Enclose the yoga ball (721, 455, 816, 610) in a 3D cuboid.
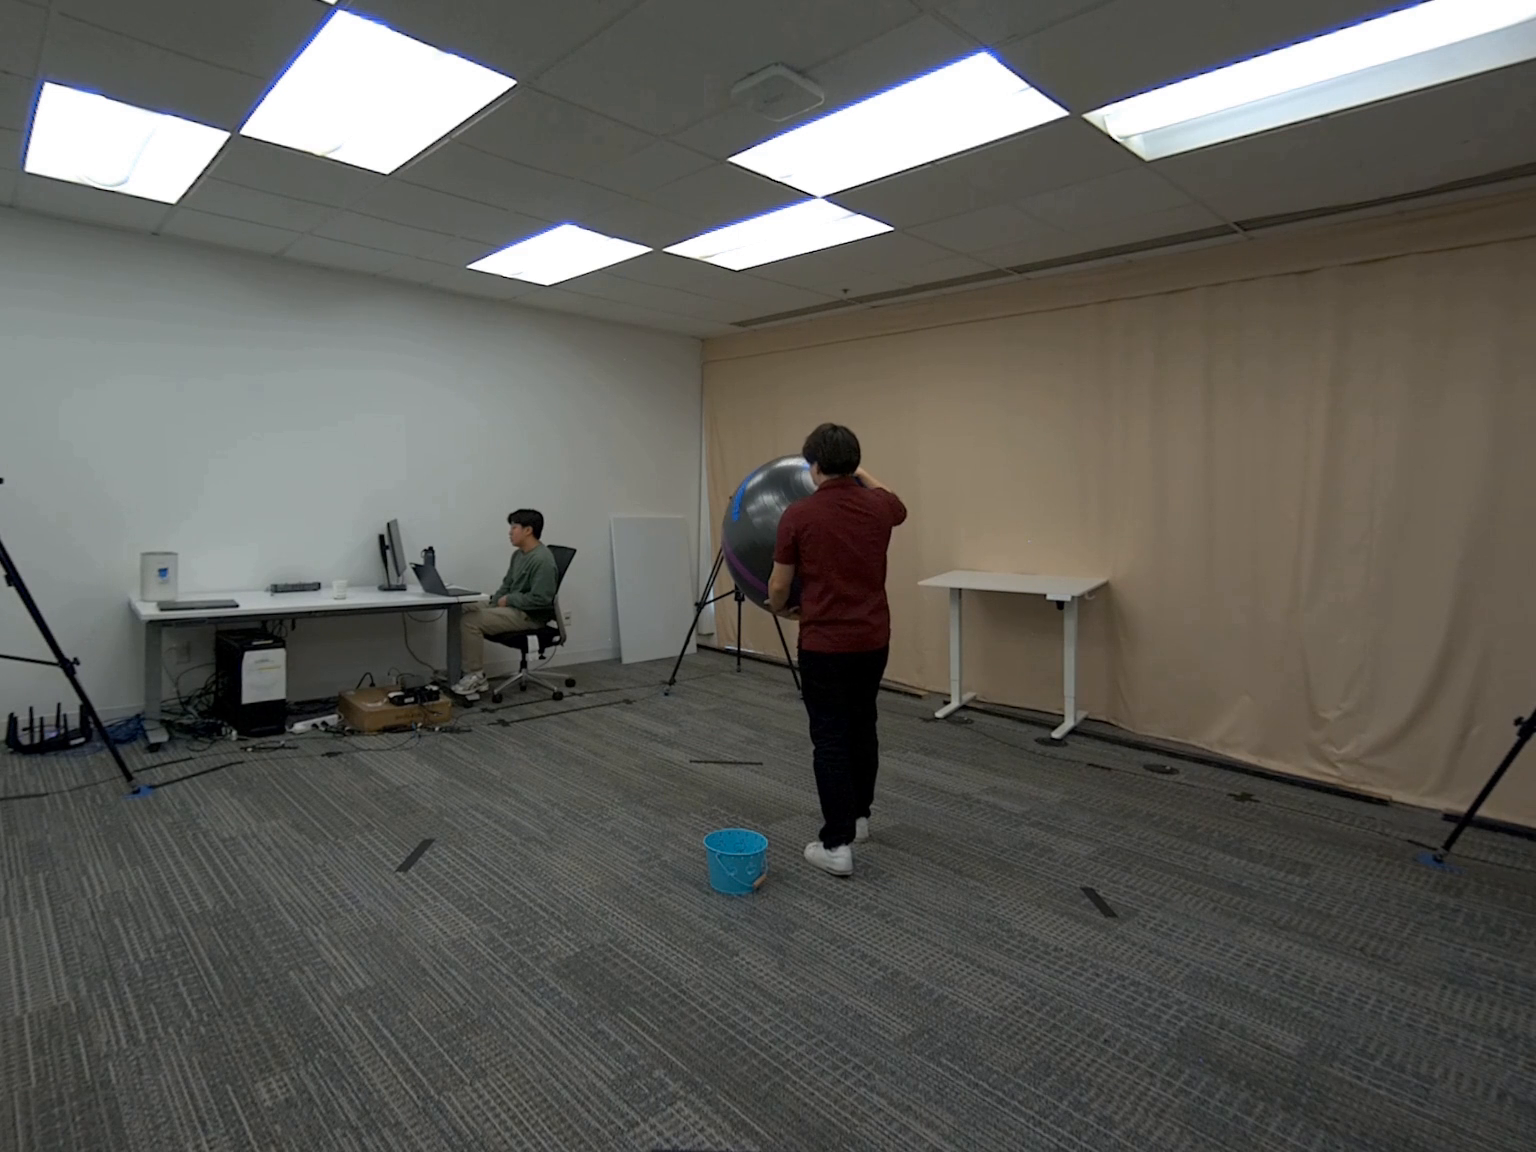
[{"bbox_3d":[0.163,-0.179,3.841,0.757,0.756,0.761,1,4,-1],"label":"yoga ball"}]
